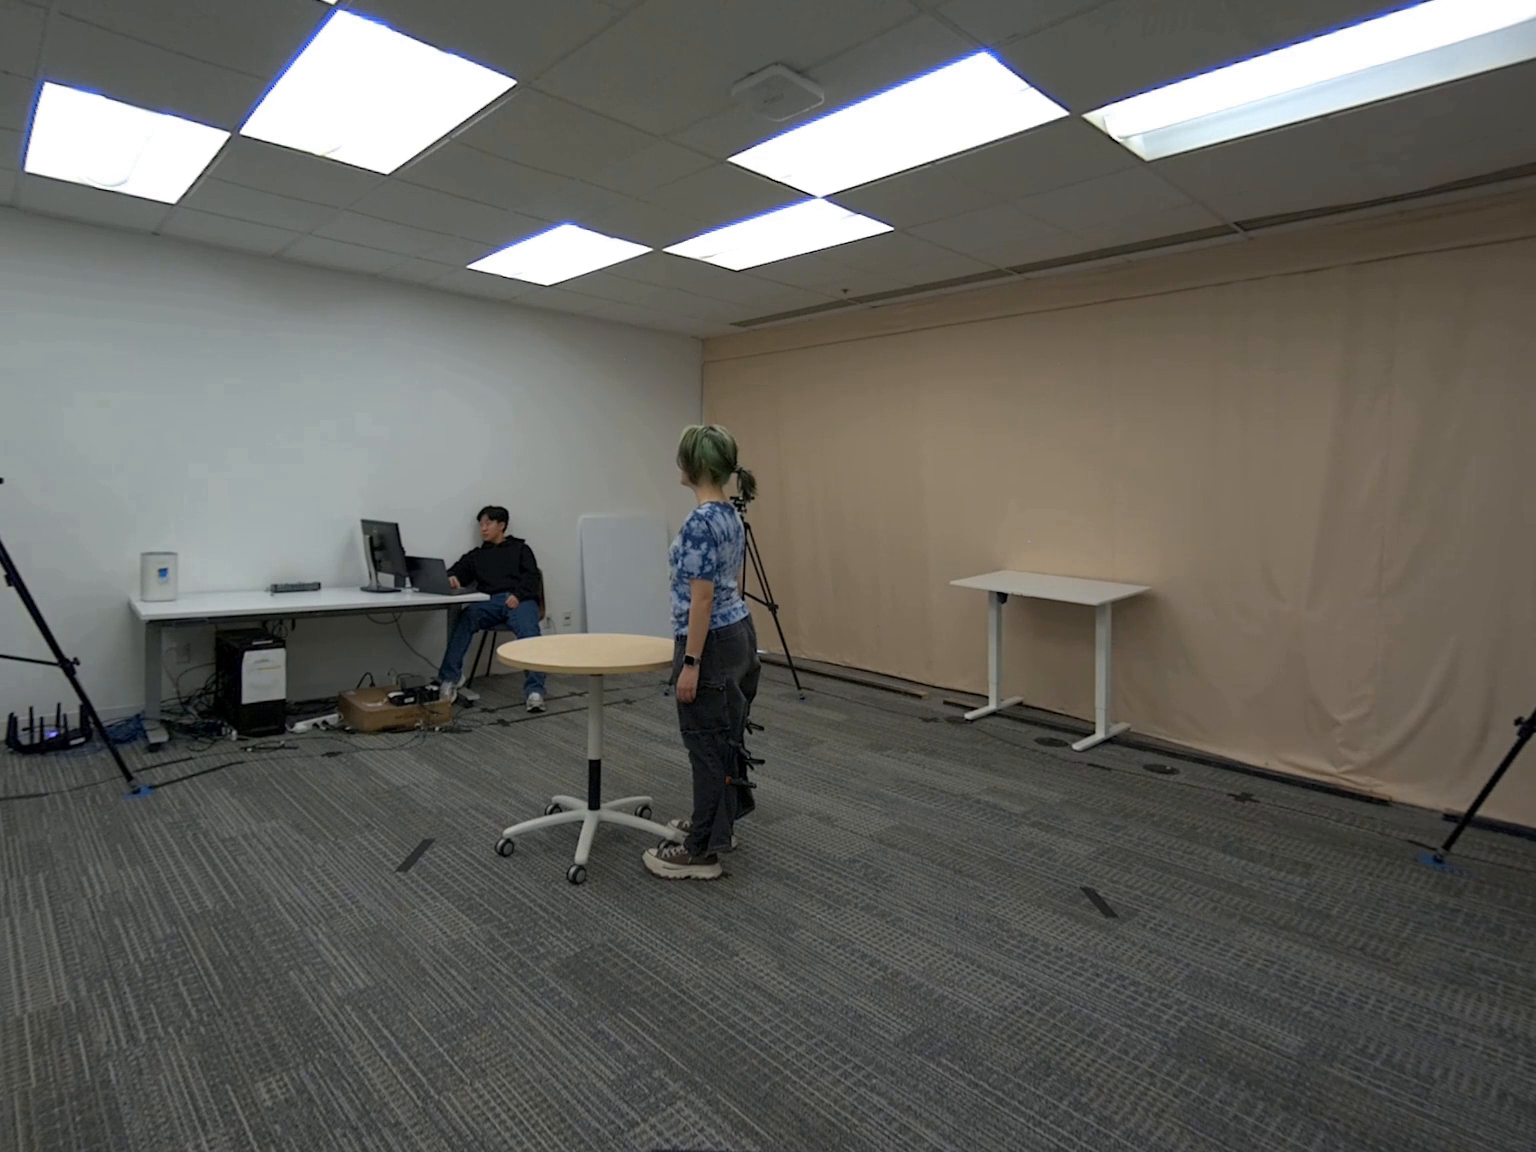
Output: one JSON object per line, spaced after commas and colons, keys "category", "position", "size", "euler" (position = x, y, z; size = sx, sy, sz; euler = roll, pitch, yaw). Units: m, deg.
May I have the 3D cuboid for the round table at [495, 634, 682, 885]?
{"category": "round table", "position": [-0.680, 0.675, 3.353], "size": [0.784, 0.784, 0.788], "euler": [1, 4, -1]}
